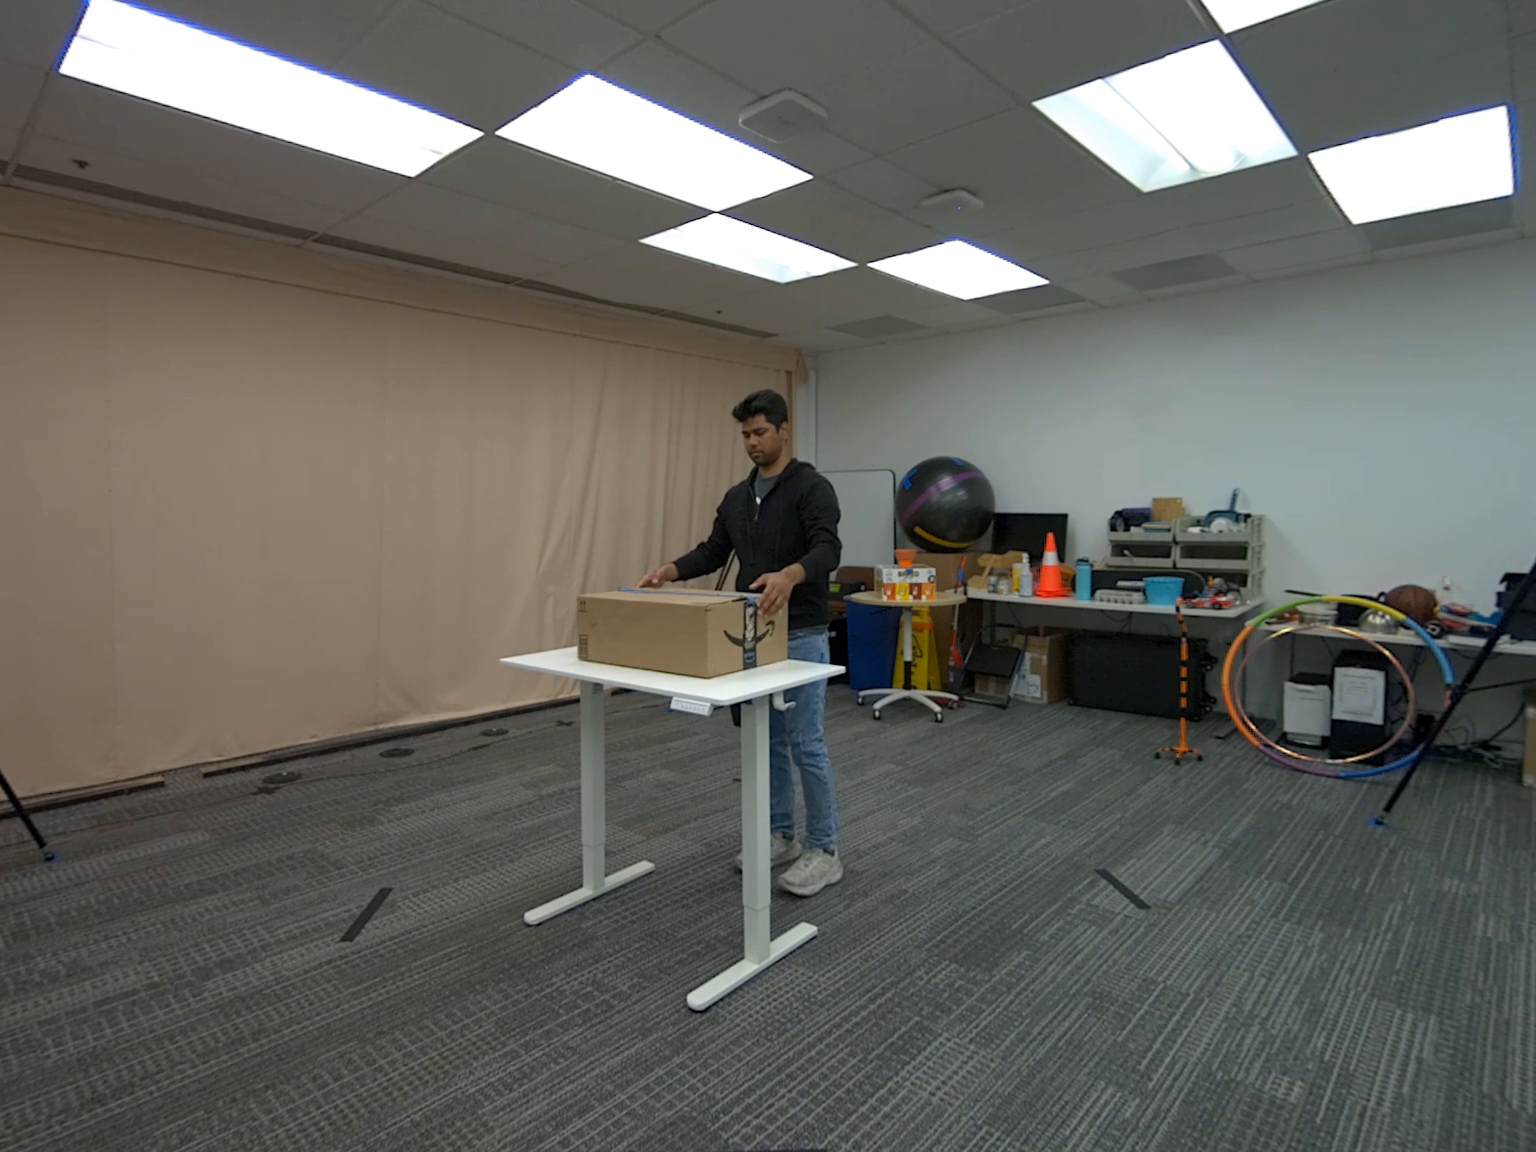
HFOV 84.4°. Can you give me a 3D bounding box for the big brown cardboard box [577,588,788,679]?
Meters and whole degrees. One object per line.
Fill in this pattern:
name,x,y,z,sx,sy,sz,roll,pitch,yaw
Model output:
big brown cardboard box,-0.278,0.161,2.796,0.608,0.233,0.405,2,5,38
